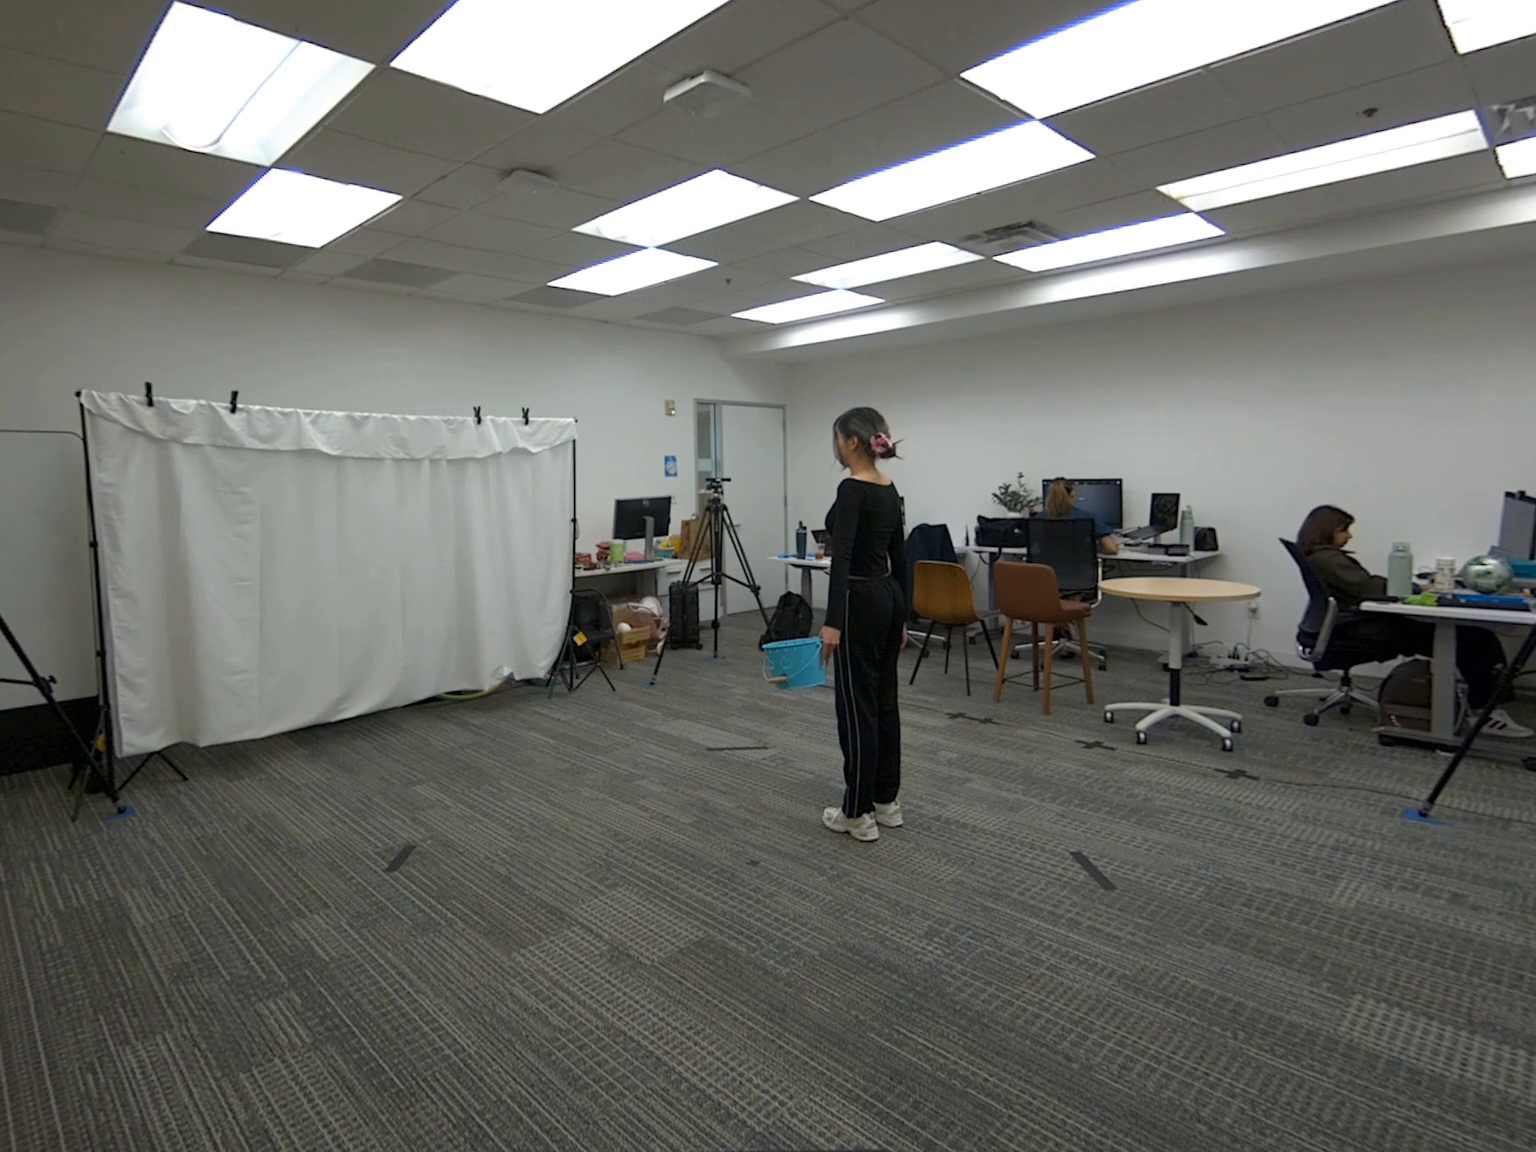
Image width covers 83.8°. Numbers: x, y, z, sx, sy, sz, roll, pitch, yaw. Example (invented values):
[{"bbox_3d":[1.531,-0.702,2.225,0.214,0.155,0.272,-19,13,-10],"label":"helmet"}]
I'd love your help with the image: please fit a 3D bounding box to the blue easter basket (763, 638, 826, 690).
[{"bbox_3d":[0.102,0.315,3.014,0.243,0.156,0.243,-7,-3,-2],"label":"blue easter basket"}]
